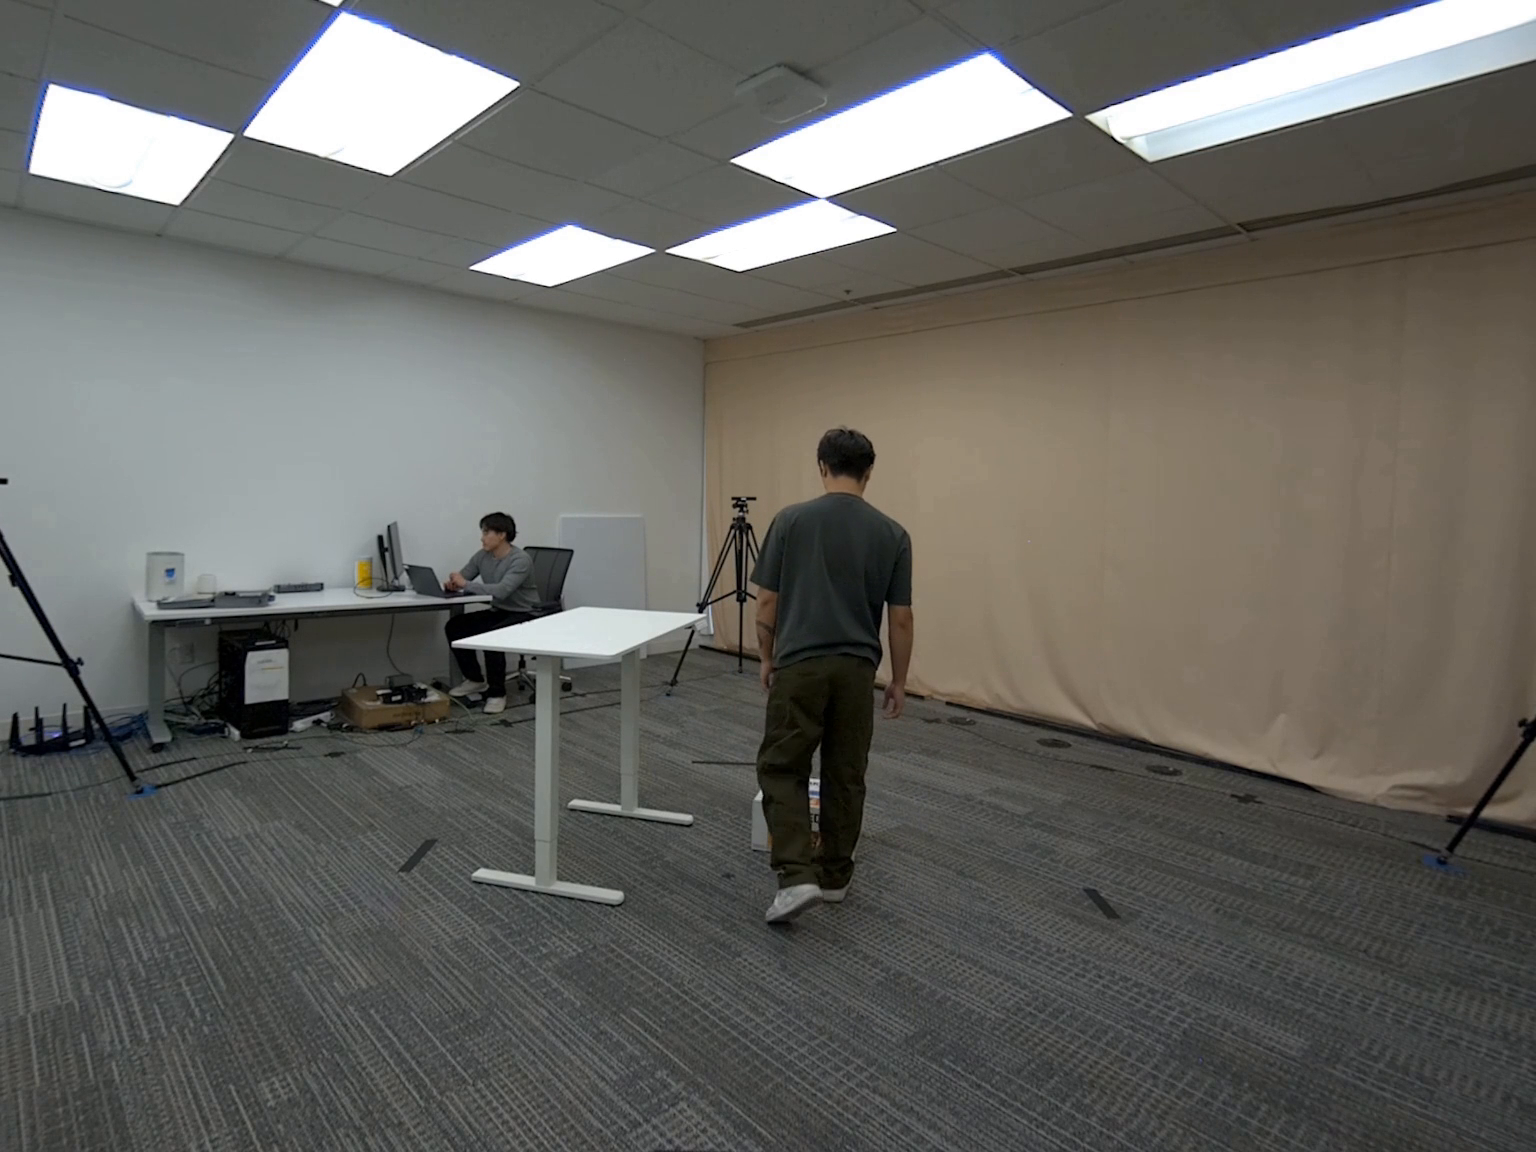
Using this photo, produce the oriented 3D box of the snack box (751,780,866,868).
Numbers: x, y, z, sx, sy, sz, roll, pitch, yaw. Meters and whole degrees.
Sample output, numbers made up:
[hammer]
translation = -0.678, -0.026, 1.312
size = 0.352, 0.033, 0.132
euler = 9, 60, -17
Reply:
[snack box]
translation = 0.169, 0.986, 3.441
size = 0.410, 0.205, 0.337
euler = 2, 5, 14
